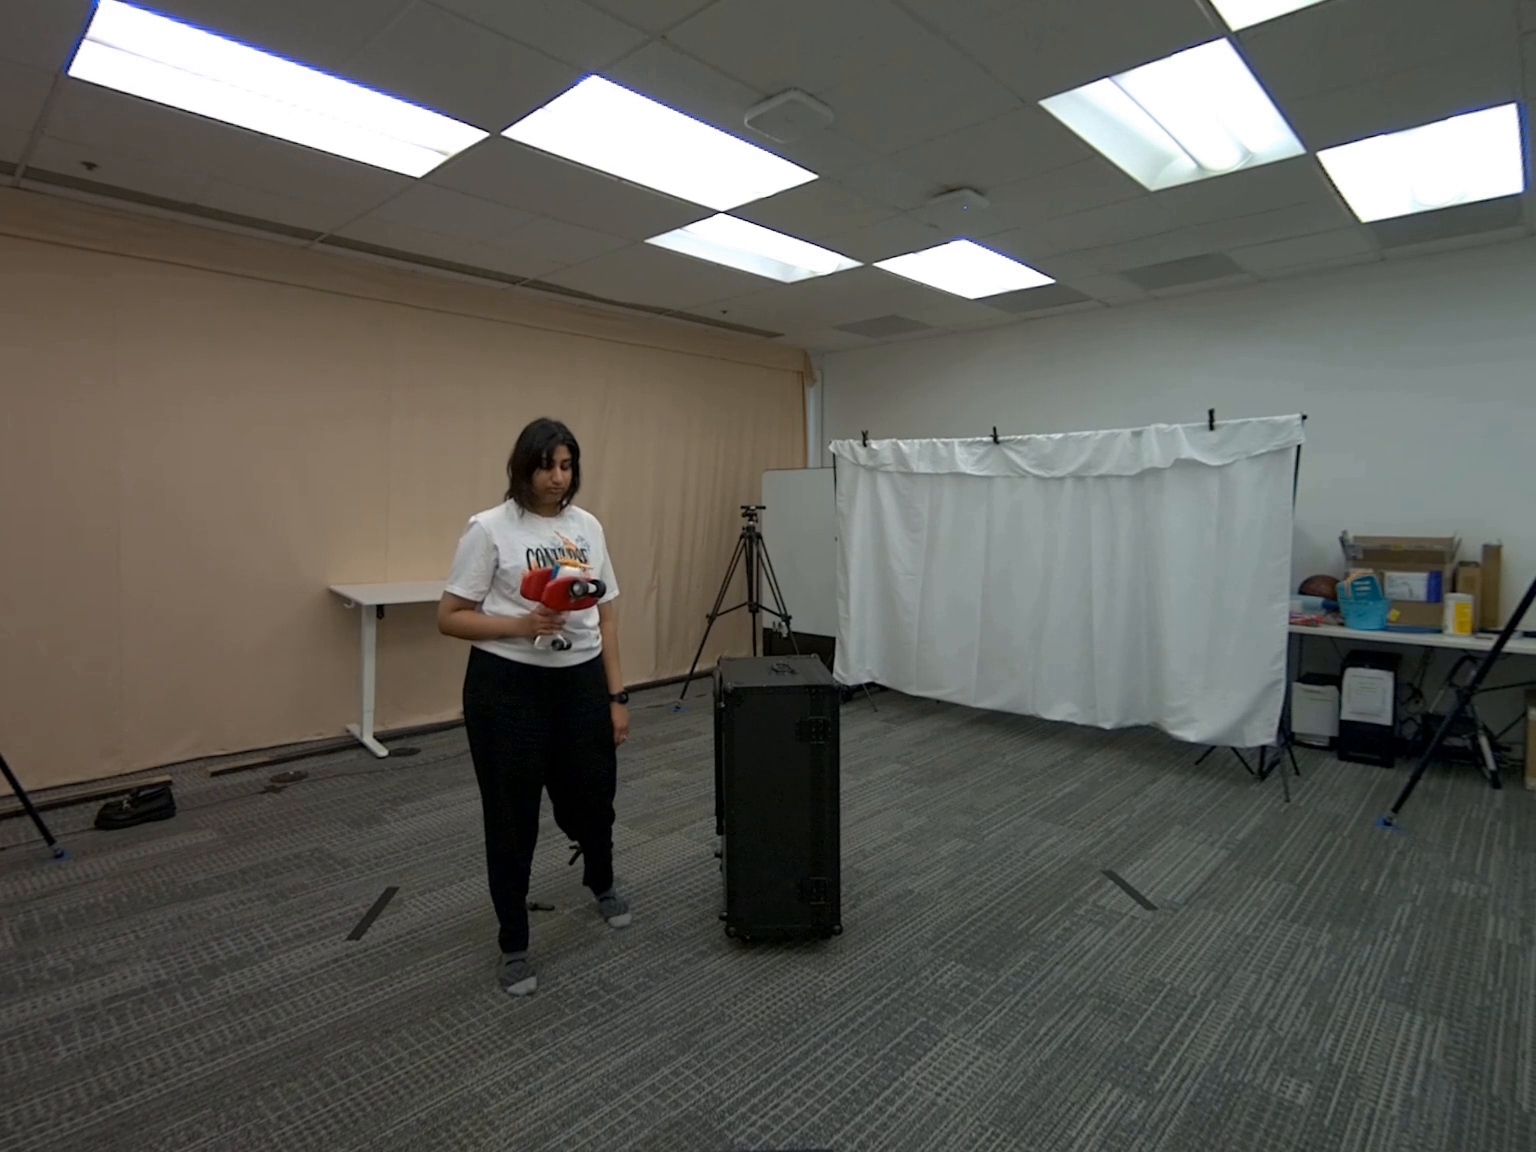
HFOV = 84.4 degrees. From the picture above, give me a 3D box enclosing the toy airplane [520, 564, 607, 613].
[{"bbox_3d":[-0.574,0.081,2.340,0.161,0.258,0.245,35,-17,22],"label":"toy airplane"}]
